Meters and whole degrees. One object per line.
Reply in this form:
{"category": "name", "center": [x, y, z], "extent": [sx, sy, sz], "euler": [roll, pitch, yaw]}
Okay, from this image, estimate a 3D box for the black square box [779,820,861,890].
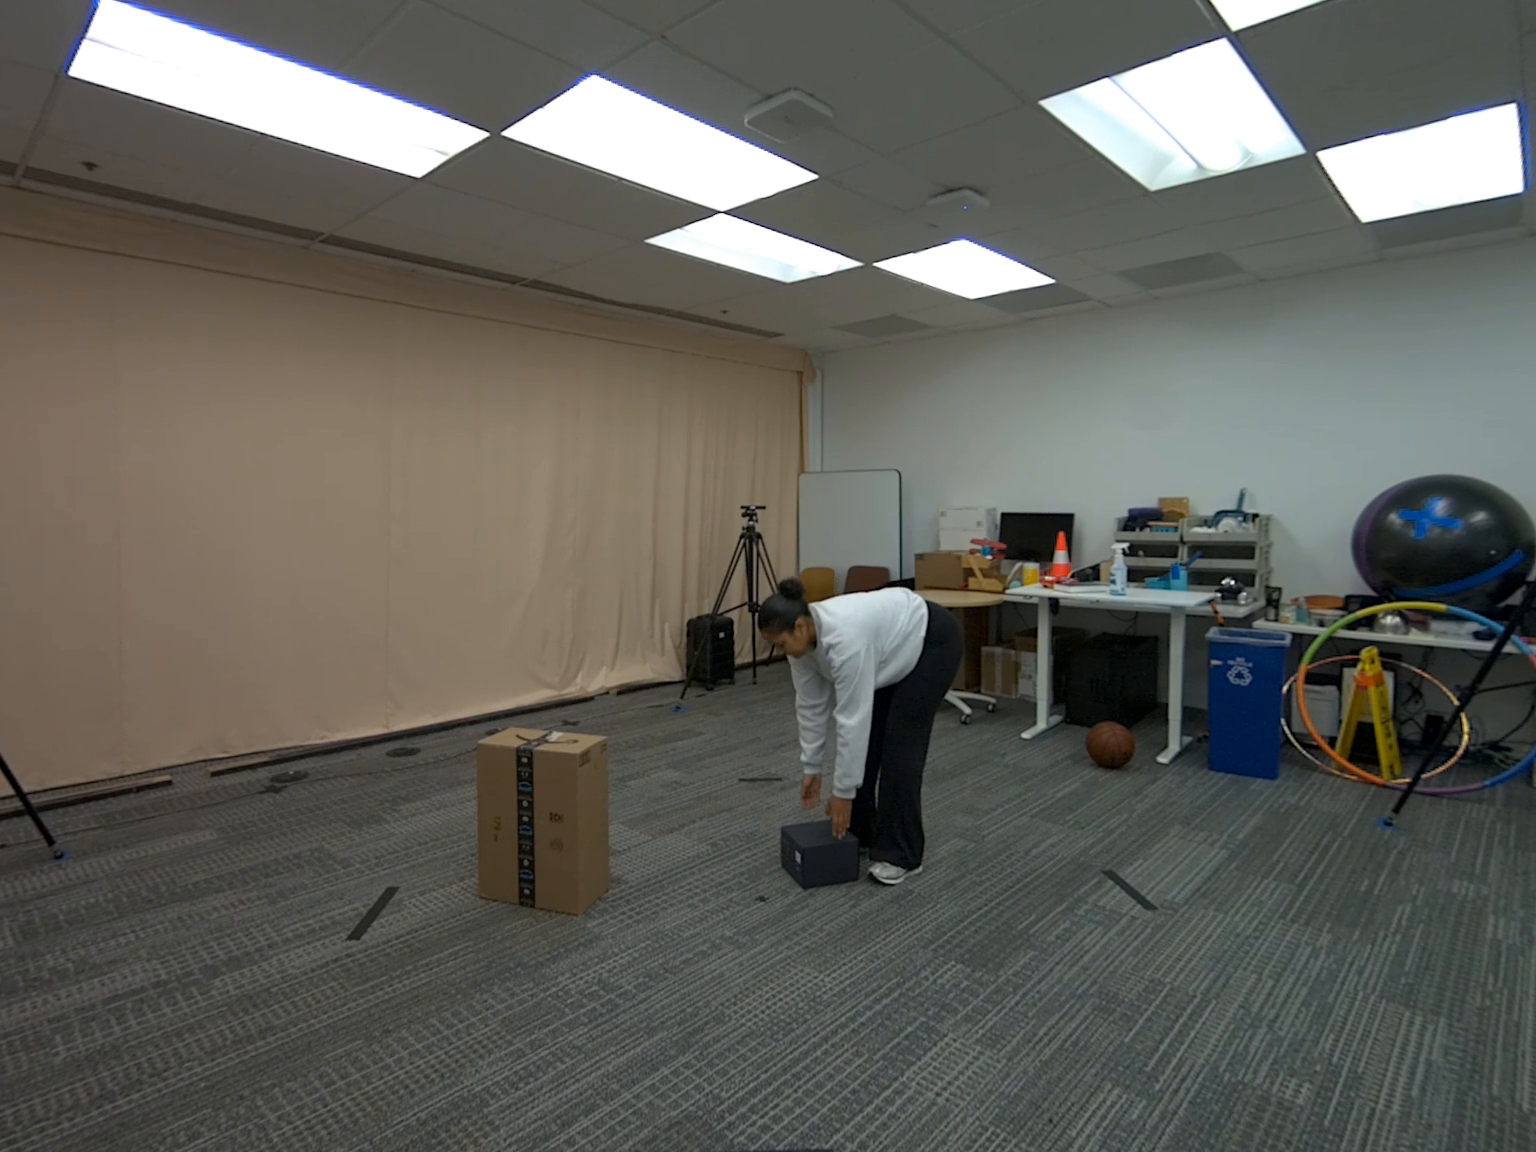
{"category": "black square box", "center": [0.194, 1.045, 3.173], "extent": [0.223, 0.156, 0.221], "euler": [-2, 3, -19]}
